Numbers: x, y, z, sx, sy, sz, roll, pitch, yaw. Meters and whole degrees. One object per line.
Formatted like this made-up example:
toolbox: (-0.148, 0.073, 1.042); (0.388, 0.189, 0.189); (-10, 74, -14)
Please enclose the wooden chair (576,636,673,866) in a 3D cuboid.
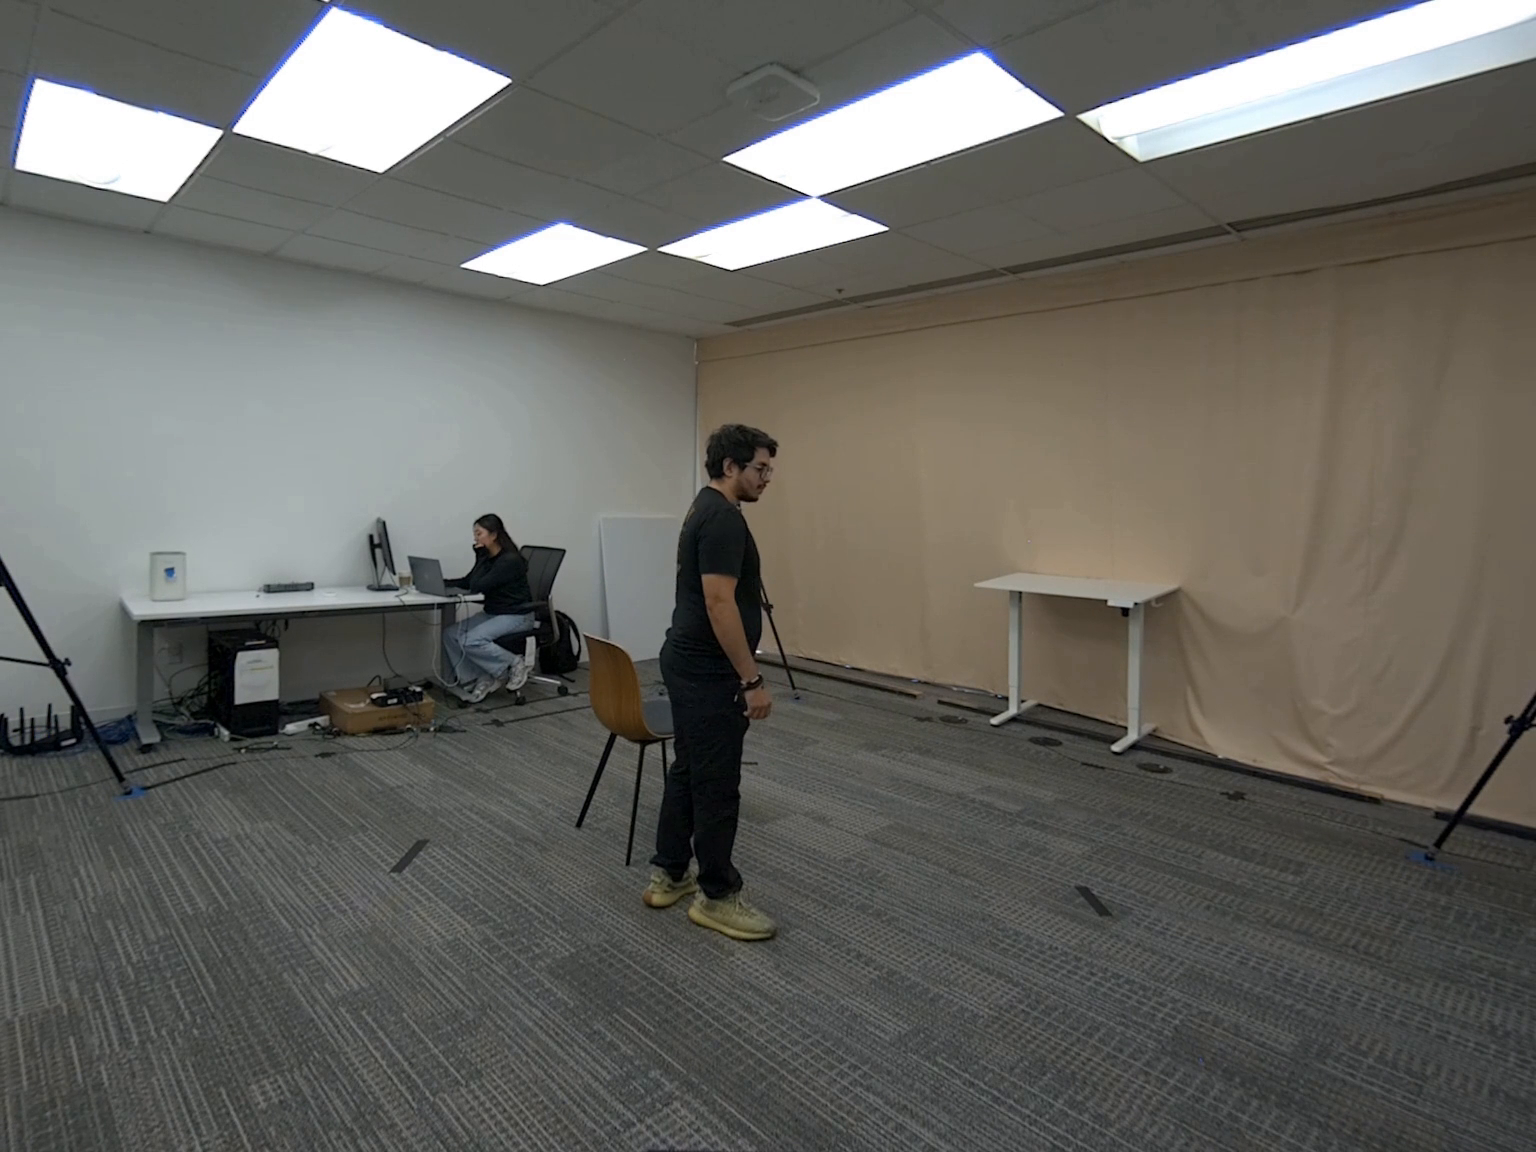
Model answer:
wooden chair: (-0.477, 0.639, 3.446); (0.512, 0.873, 0.490); (-6, 7, -37)
